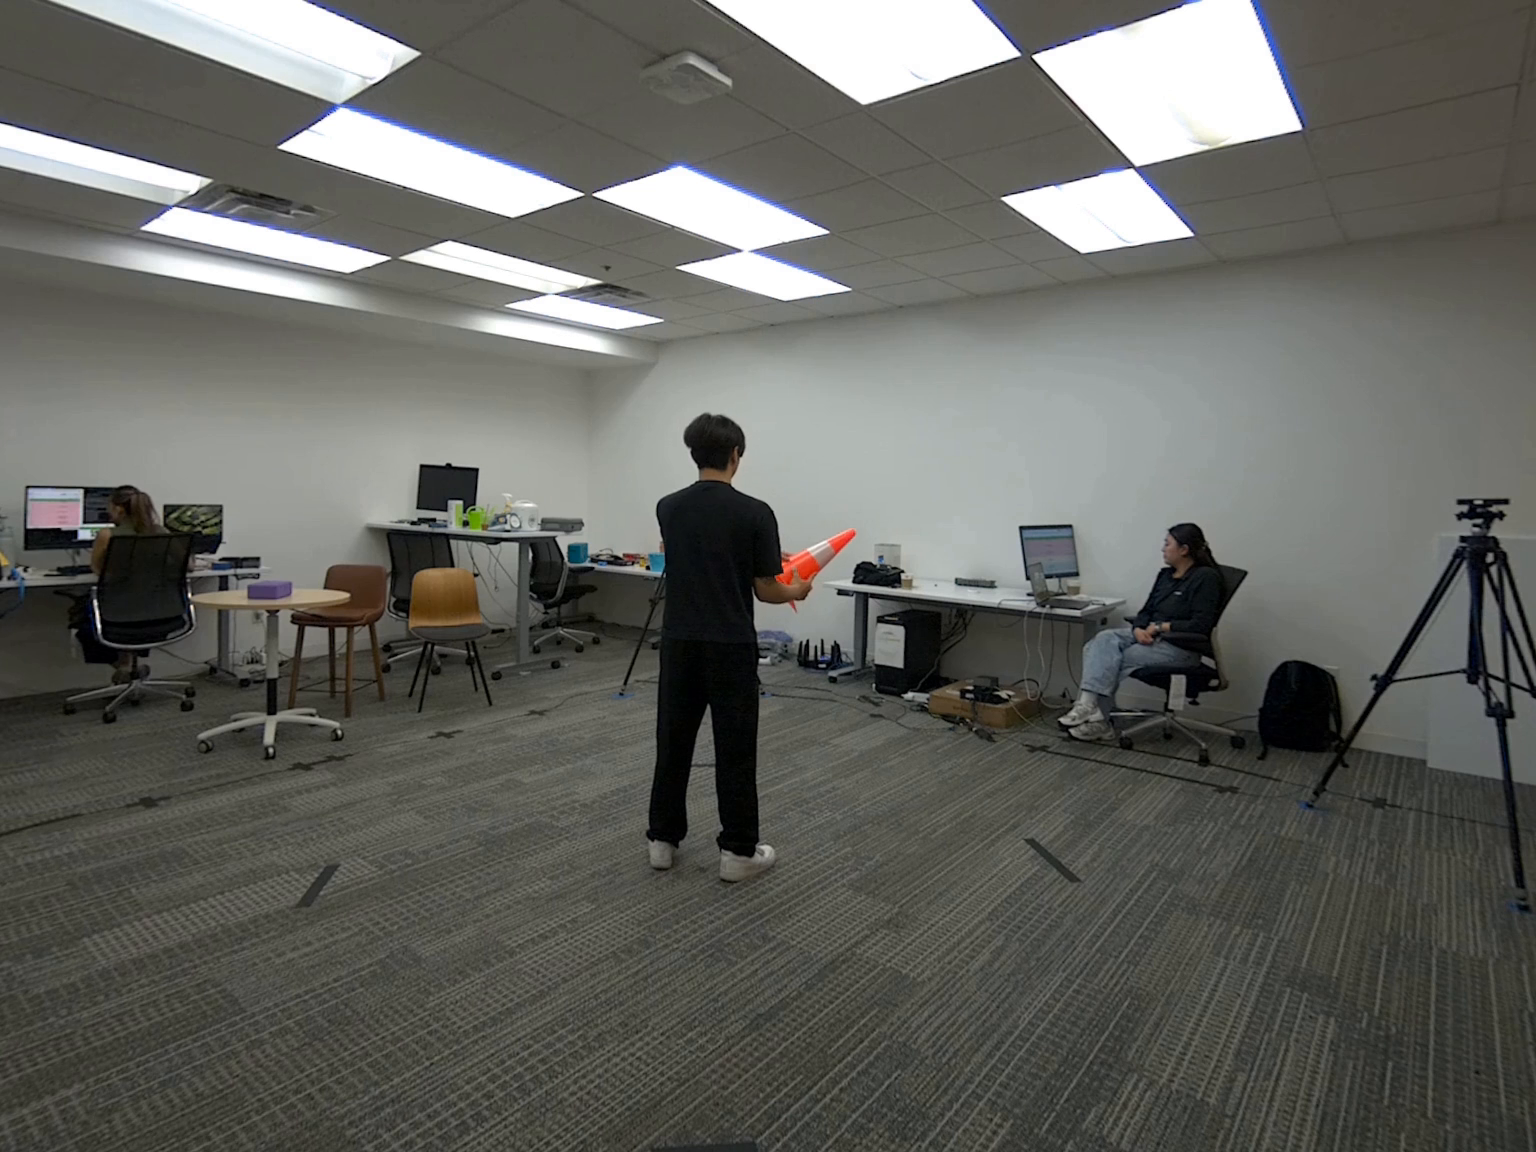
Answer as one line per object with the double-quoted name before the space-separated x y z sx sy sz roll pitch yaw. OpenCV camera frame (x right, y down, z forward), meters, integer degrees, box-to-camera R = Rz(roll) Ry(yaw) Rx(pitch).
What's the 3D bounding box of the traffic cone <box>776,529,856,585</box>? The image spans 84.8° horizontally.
"traffic cone" 0.179 -0.071 3.409 0.383 0.197 0.212 -35 50 -7
